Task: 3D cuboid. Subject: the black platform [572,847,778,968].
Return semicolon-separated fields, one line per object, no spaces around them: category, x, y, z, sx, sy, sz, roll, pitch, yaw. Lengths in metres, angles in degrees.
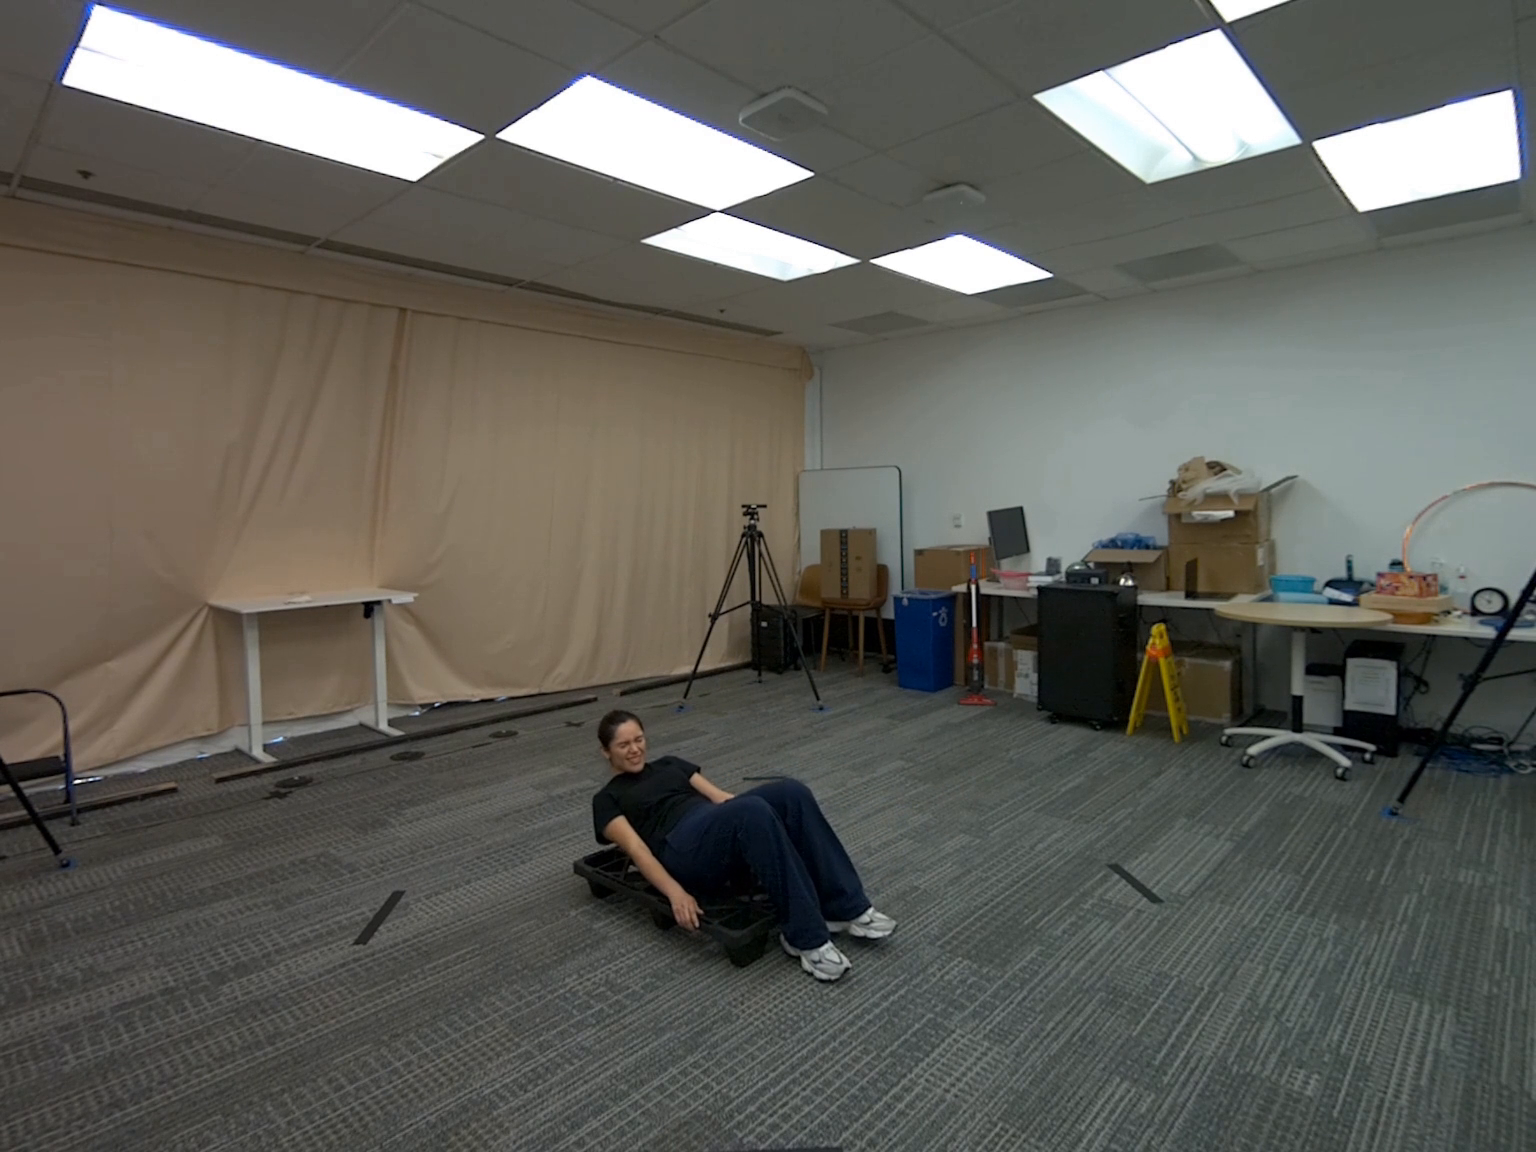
black platform;-0.194;1.082;2.944;0.832;0.143;0.587;3;7;42
